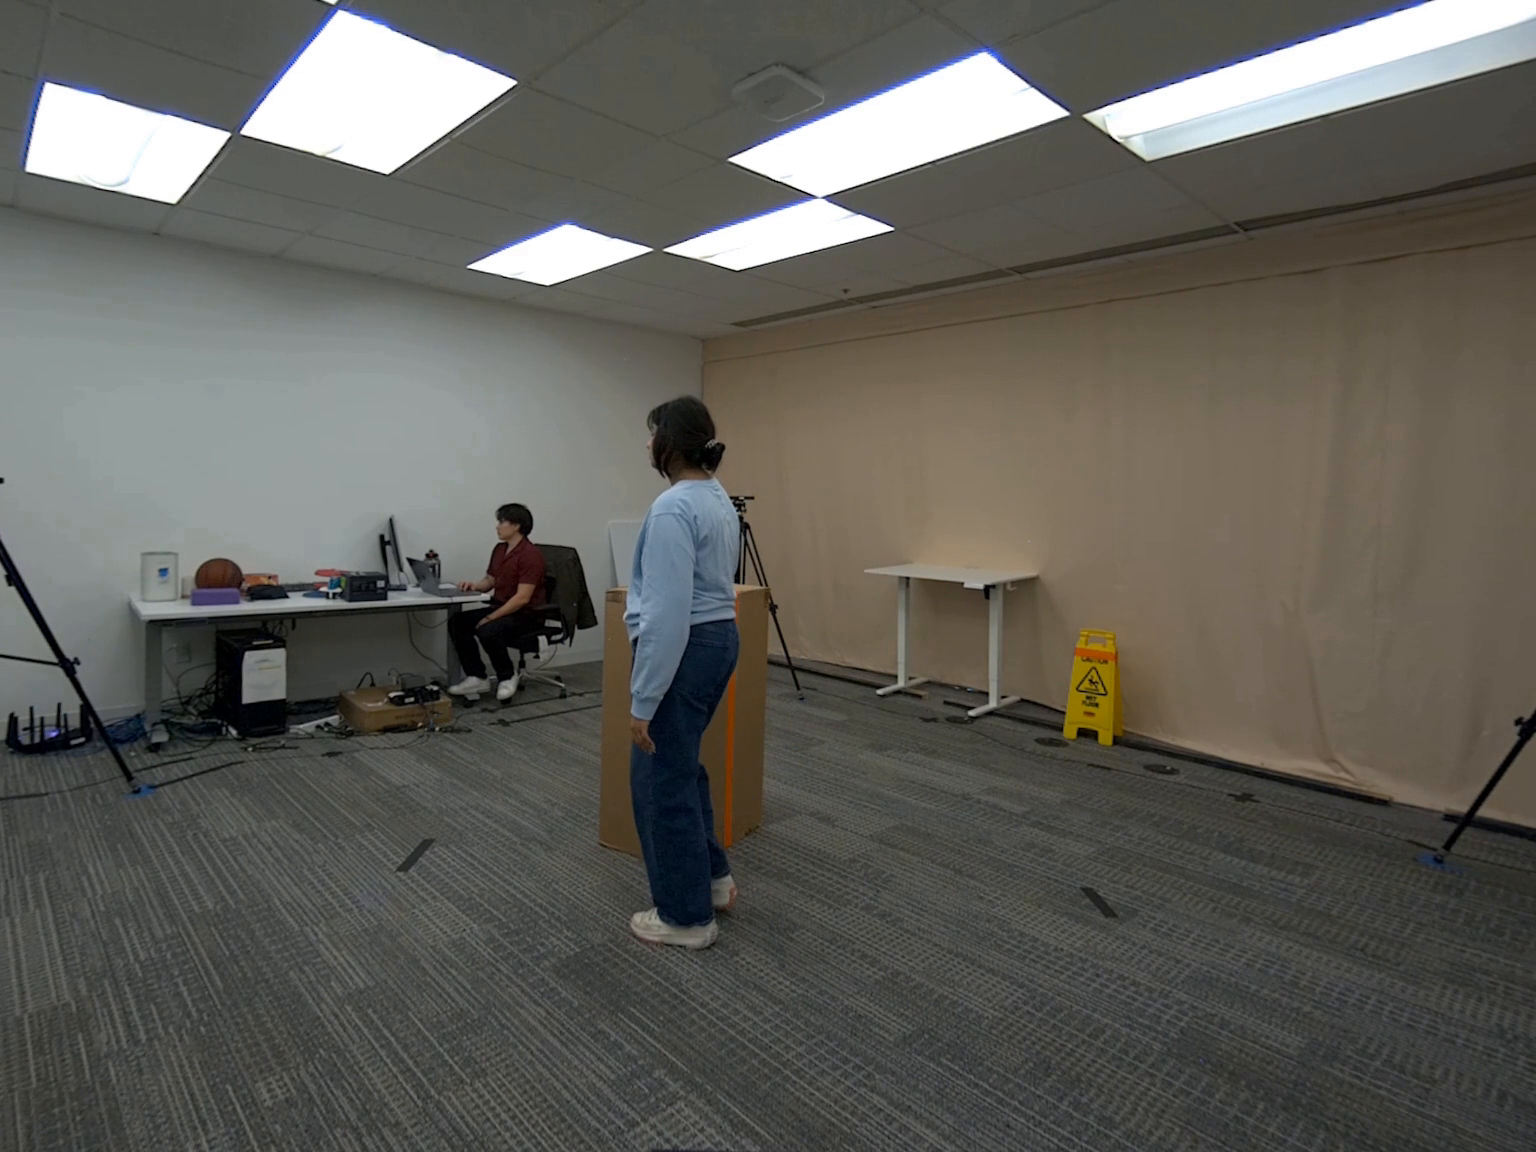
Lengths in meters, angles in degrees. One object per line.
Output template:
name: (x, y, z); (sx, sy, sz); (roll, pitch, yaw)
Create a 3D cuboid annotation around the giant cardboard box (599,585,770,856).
giant cardboard box: (-0.335, 0.563, 3.453); (0.457, 1.025, 0.572); (3, 3, 31)
